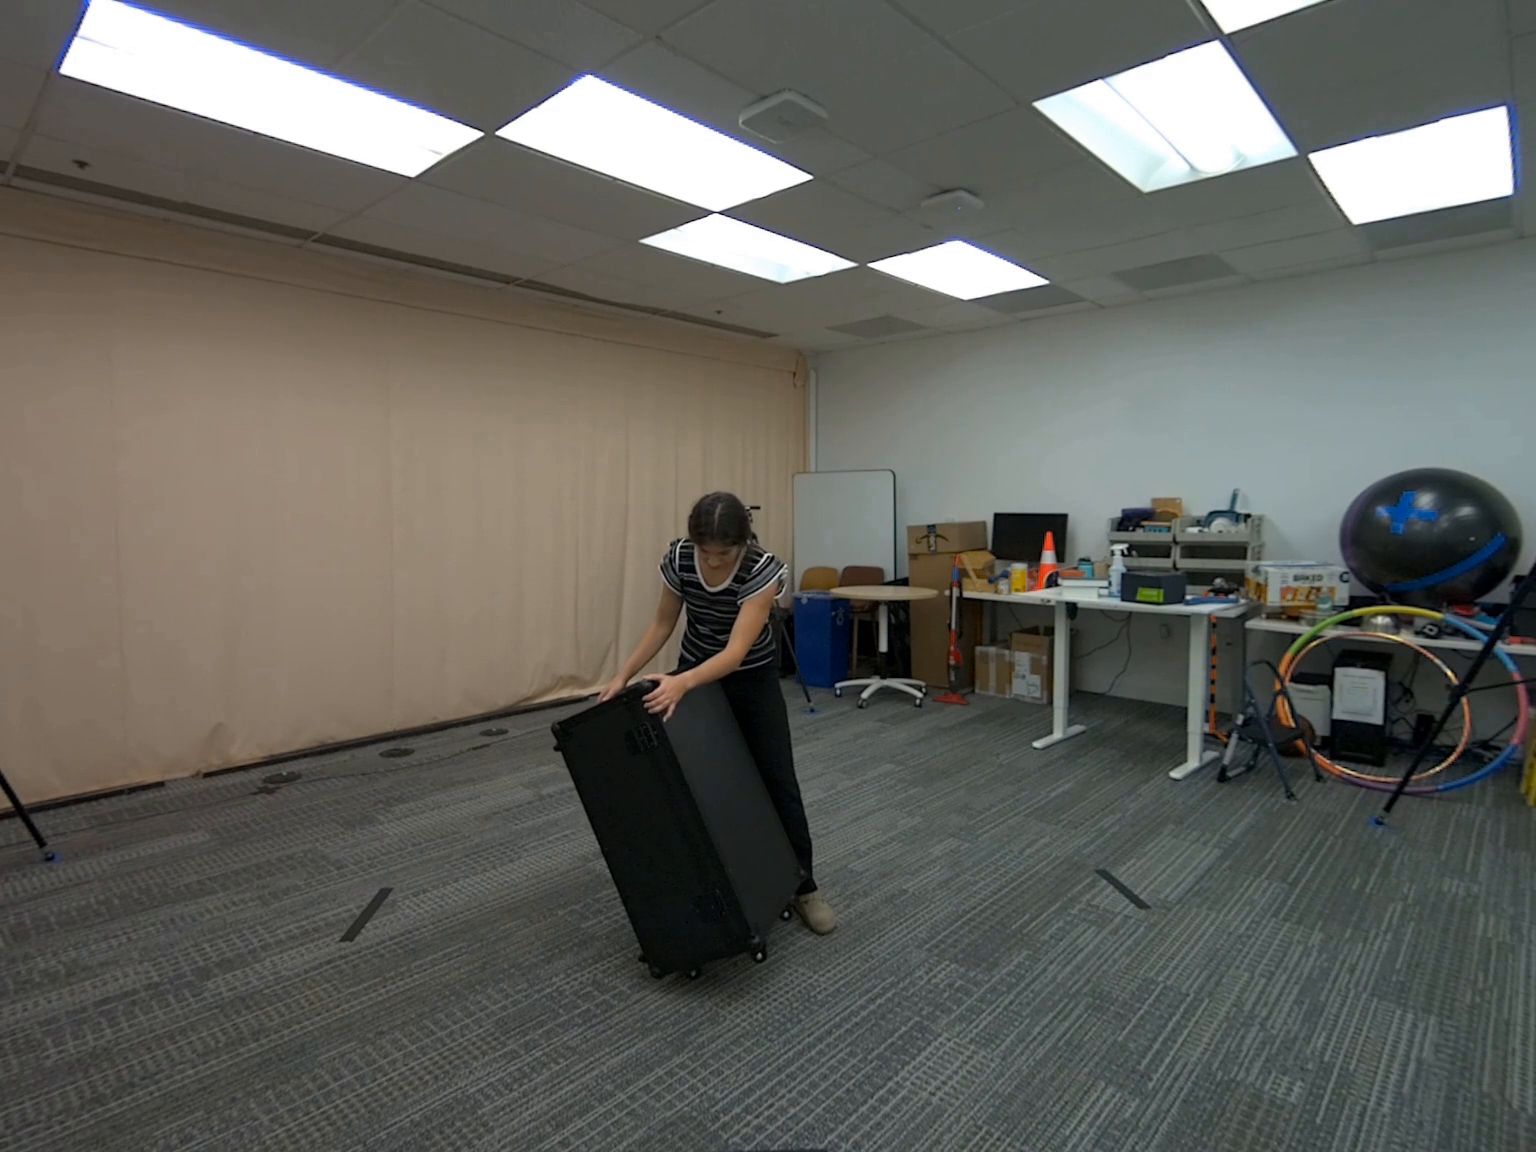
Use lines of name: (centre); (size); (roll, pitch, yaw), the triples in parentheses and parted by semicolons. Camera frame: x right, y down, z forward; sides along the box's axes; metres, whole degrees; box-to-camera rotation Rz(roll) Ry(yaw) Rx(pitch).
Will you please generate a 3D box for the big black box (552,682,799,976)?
big black box: (-0.263, 0.748, 2.607); (0.401, 0.868, 0.511); (-27, -7, 19)
